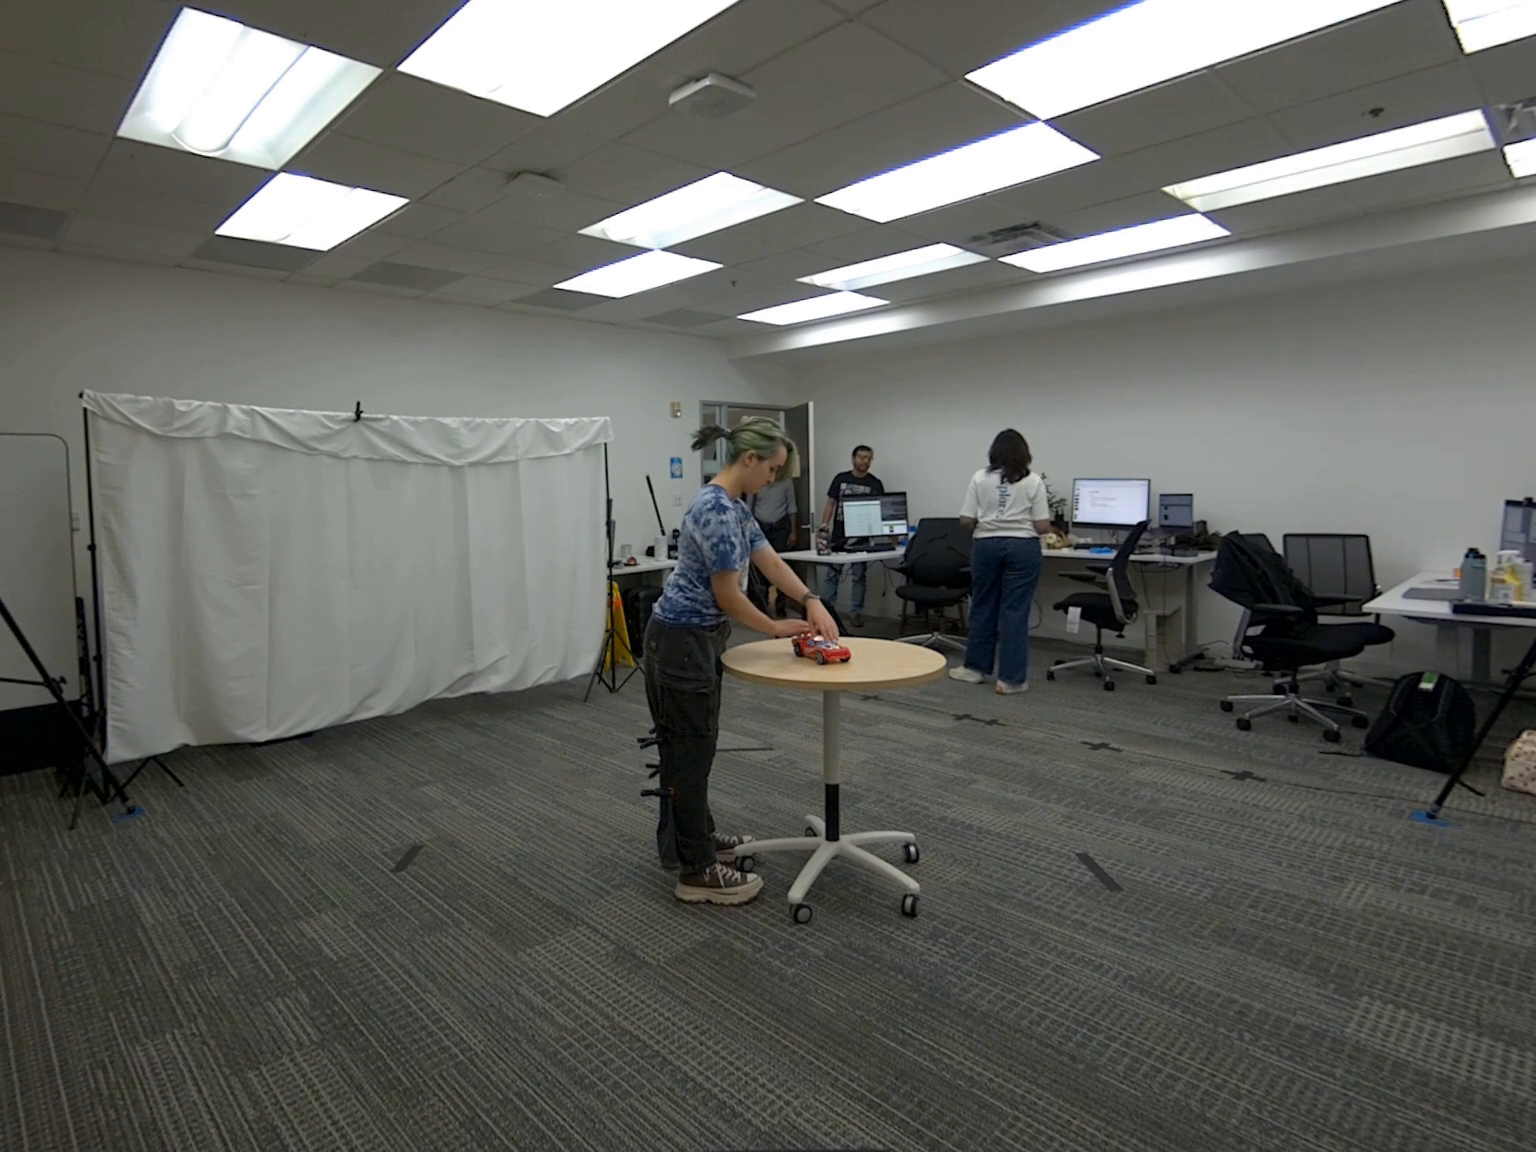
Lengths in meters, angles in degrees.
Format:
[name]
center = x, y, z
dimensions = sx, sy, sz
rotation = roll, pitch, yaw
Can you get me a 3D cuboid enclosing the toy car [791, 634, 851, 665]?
[toy car]
center = 0.172, 0.247, 2.922
dimensions = 0.127, 0.082, 0.263
rotation = -3, 17, -26
